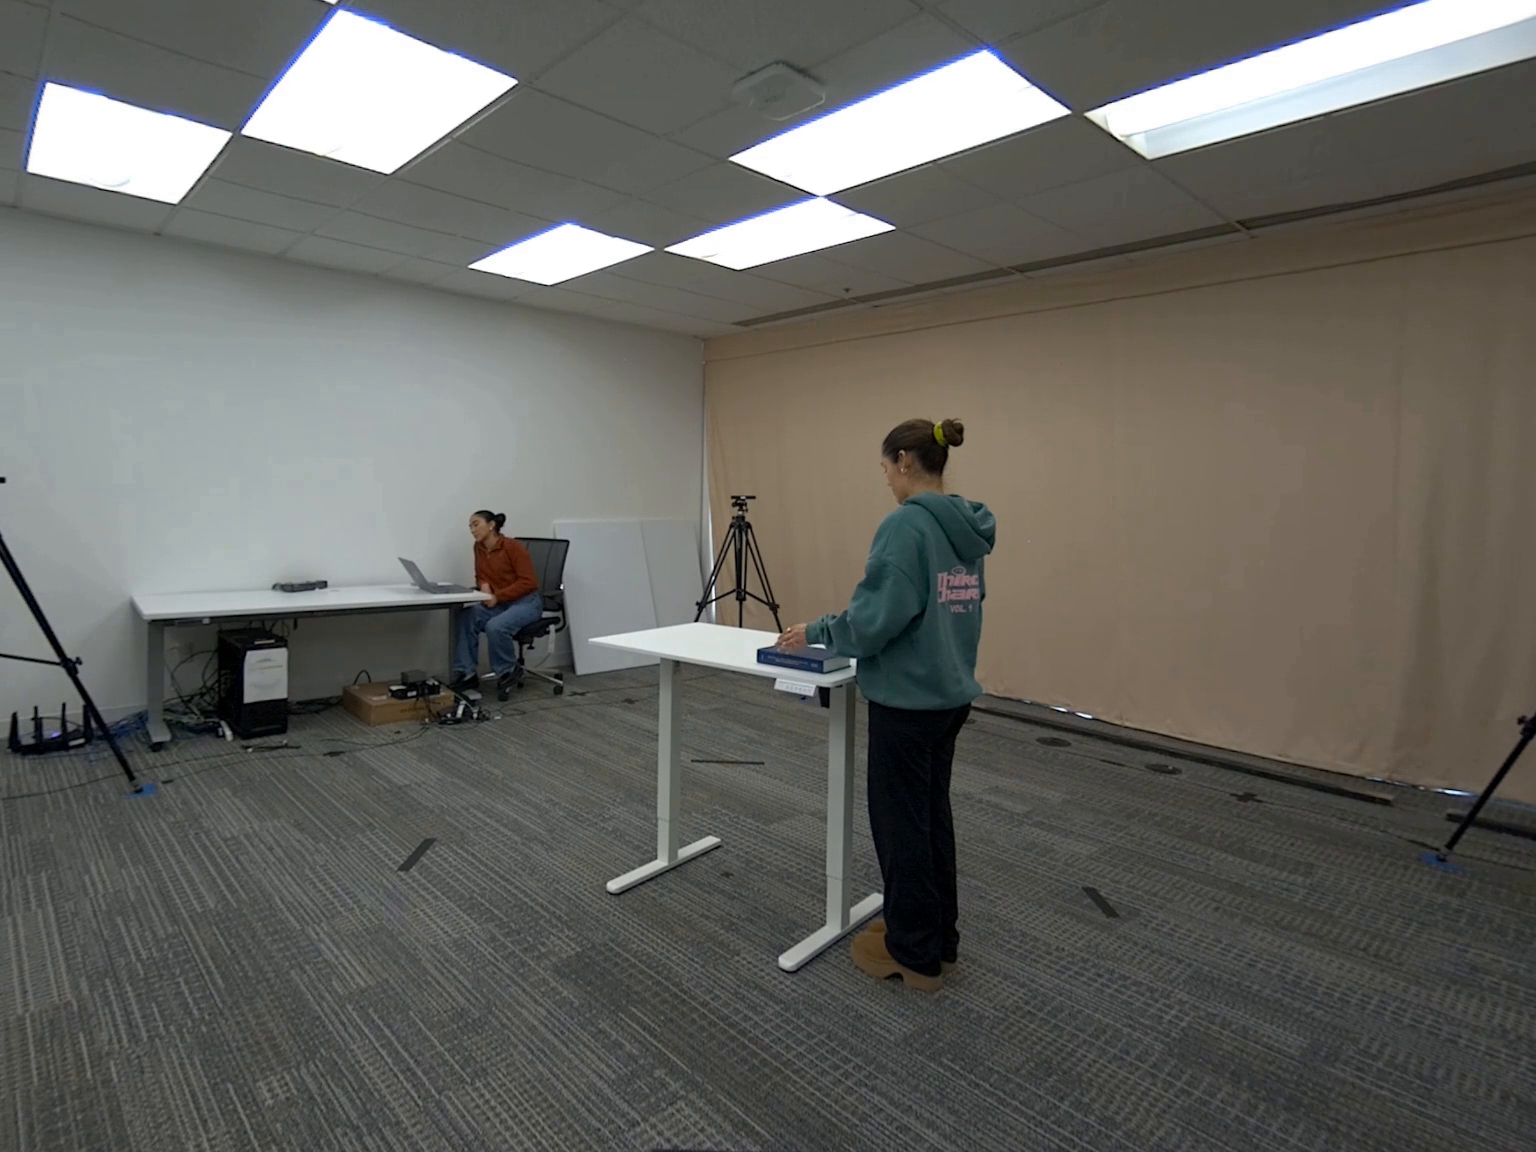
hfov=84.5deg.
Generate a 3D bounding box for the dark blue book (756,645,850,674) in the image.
[{"bbox_3d":[0.100,0.251,2.583,0.251,0.045,0.160,5,7,36],"label":"dark blue book"}]
